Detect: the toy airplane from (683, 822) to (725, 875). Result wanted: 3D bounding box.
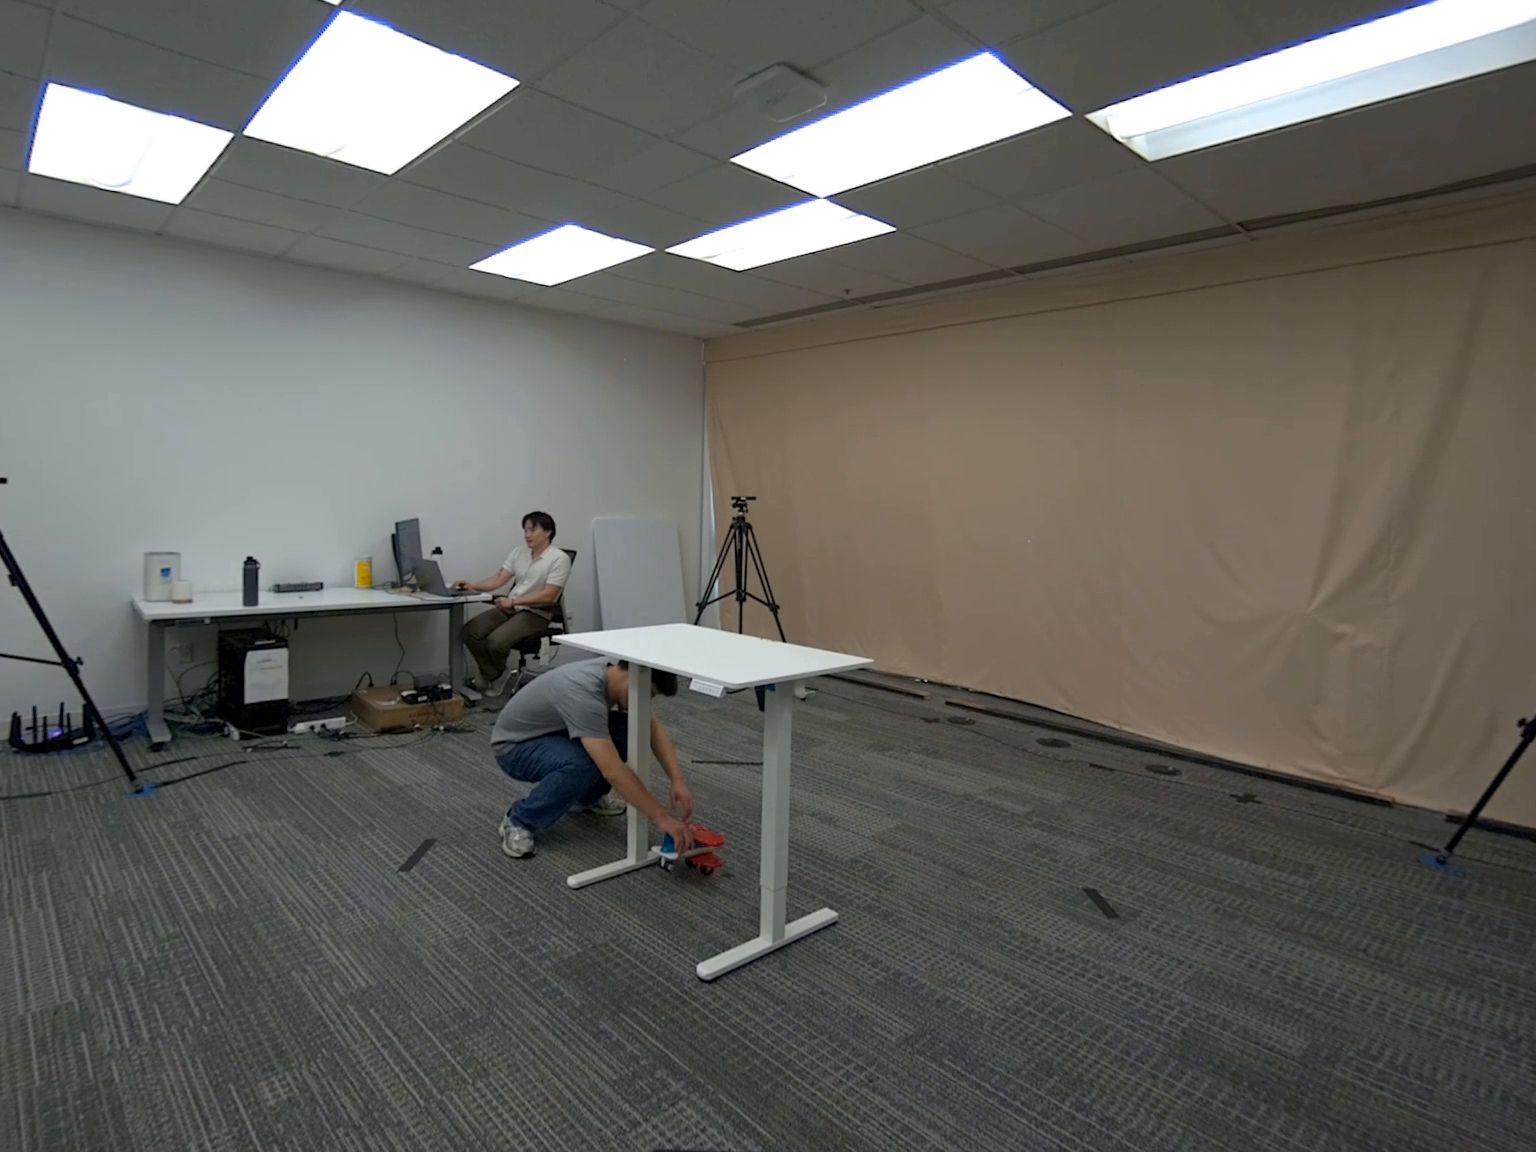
[{"bbox_3d":[-0.286,1.005,3.071,0.255,0.157,0.254,11,-10,17],"label":"toy airplane"}]
